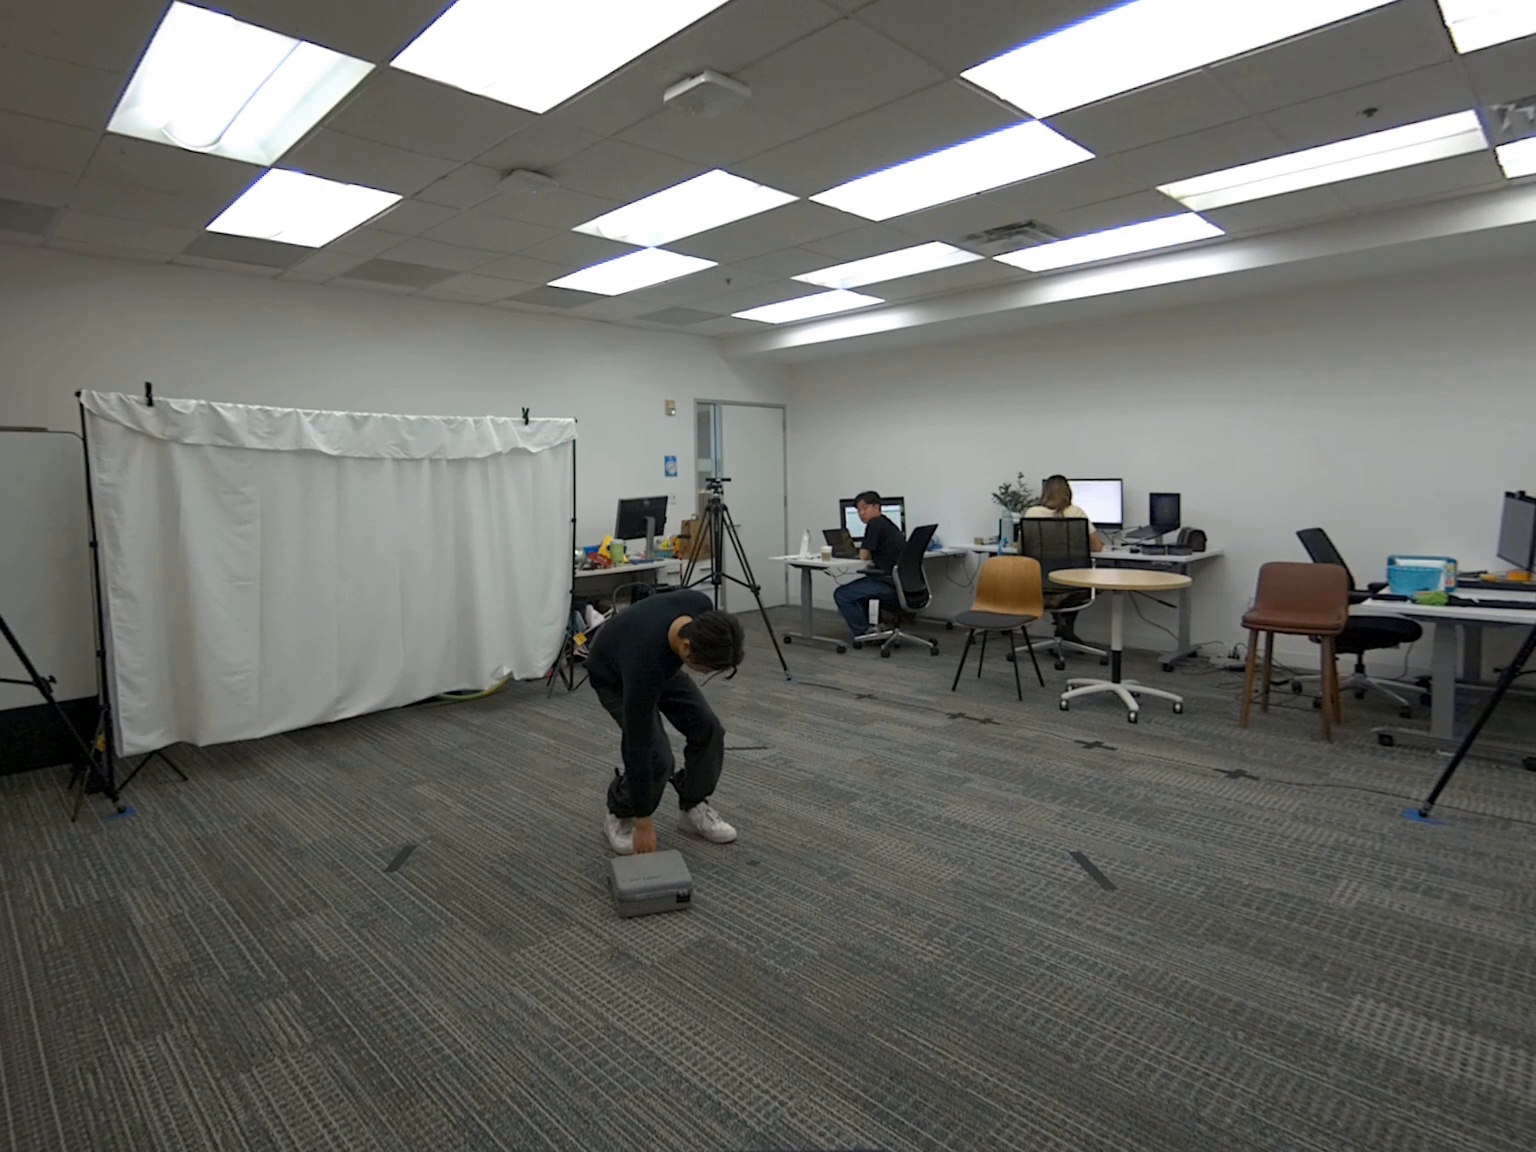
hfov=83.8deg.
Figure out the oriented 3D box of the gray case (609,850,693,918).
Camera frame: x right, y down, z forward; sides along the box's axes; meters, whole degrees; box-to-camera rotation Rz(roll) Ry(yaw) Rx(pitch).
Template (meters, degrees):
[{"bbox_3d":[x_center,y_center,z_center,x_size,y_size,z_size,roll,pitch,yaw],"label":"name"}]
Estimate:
[{"bbox_3d":[-0.397,1.023,2.860,0.253,0.104,0.265,-4,7,-16],"label":"gray case"}]
